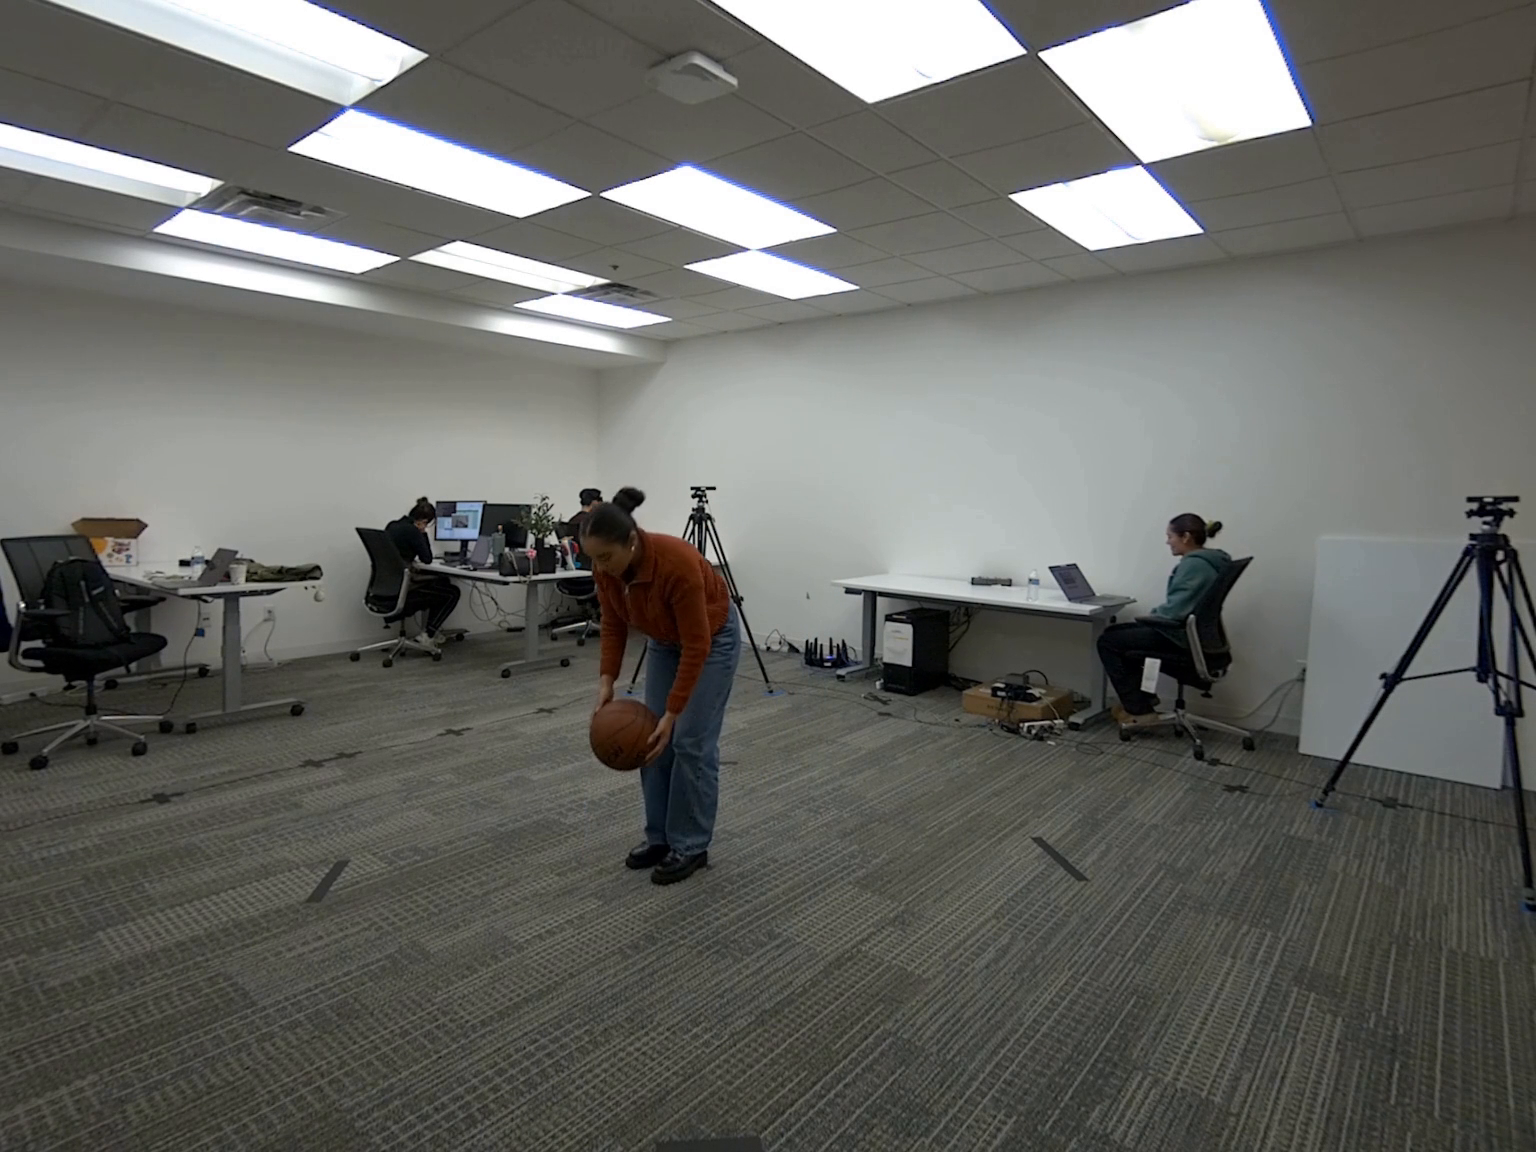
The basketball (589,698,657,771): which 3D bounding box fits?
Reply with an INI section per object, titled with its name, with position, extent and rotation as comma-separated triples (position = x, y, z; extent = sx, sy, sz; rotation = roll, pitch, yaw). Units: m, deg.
[basketball]
position = -0.501, 0.532, 2.845
extent = 0.235, 0.235, 0.237
rotation = 1, 4, -2
